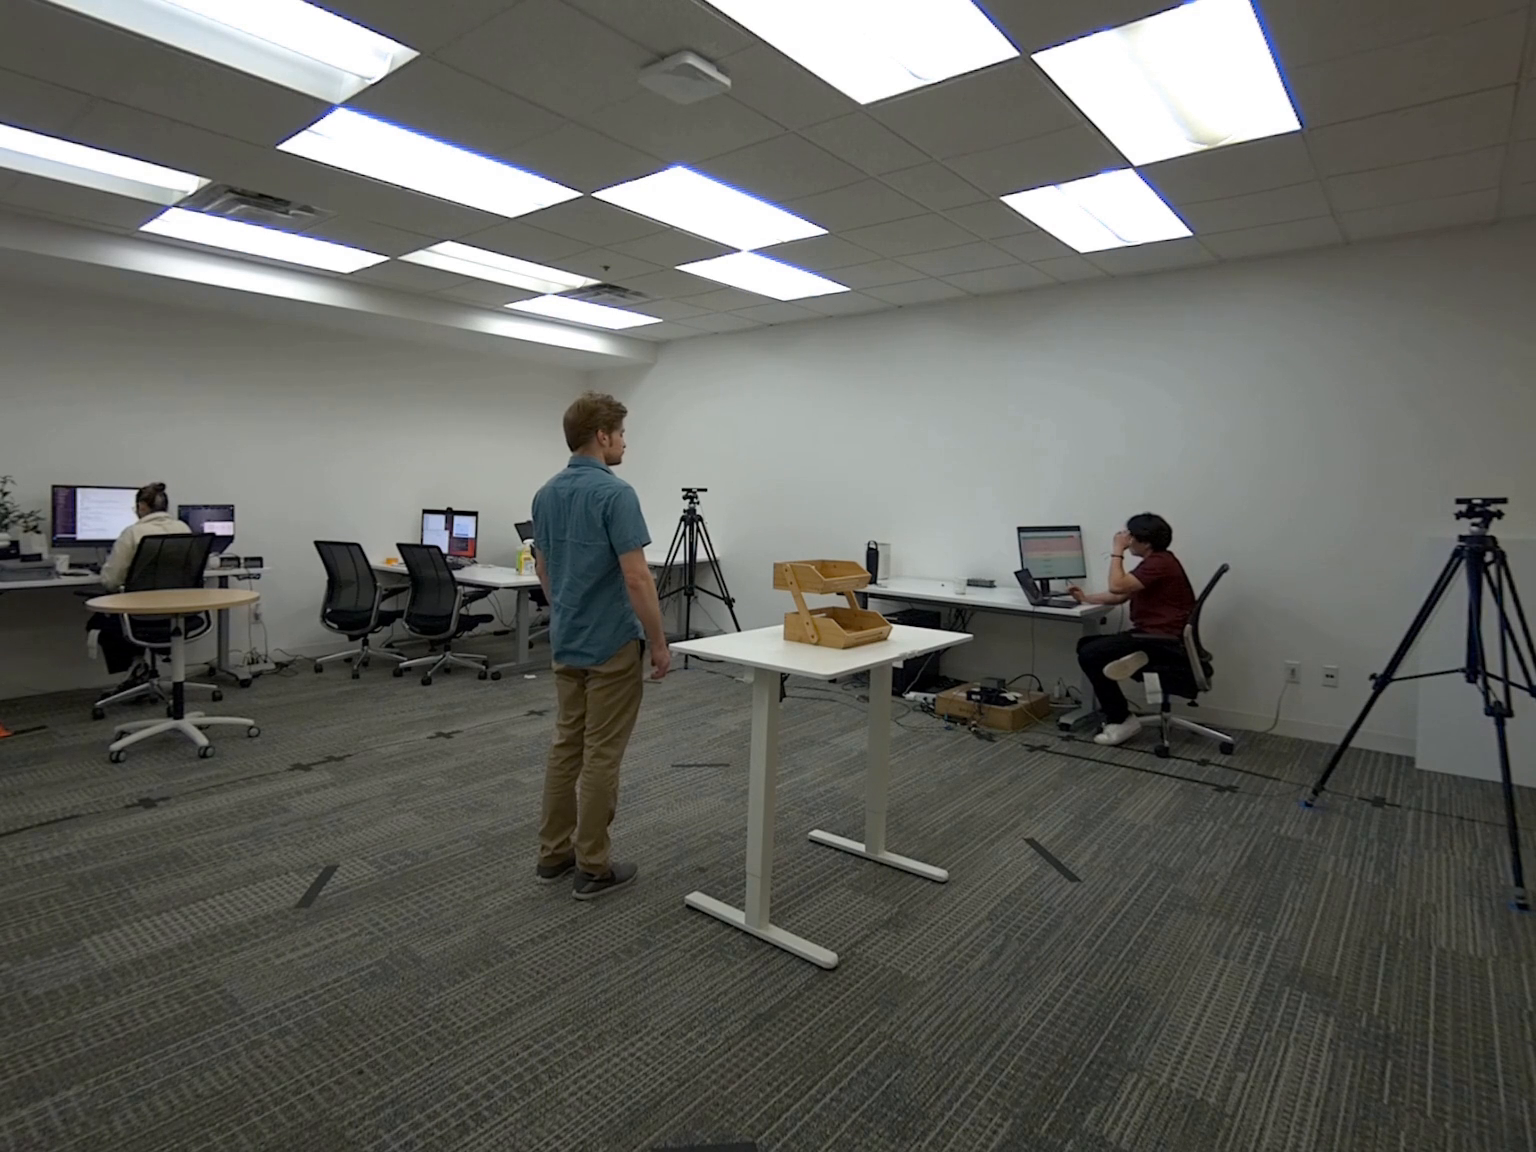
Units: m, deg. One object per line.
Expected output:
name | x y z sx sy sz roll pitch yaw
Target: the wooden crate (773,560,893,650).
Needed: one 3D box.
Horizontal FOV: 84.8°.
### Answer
wooden crate | 0.219 0.084 2.916 0.312 0.272 0.315 4 5 39
